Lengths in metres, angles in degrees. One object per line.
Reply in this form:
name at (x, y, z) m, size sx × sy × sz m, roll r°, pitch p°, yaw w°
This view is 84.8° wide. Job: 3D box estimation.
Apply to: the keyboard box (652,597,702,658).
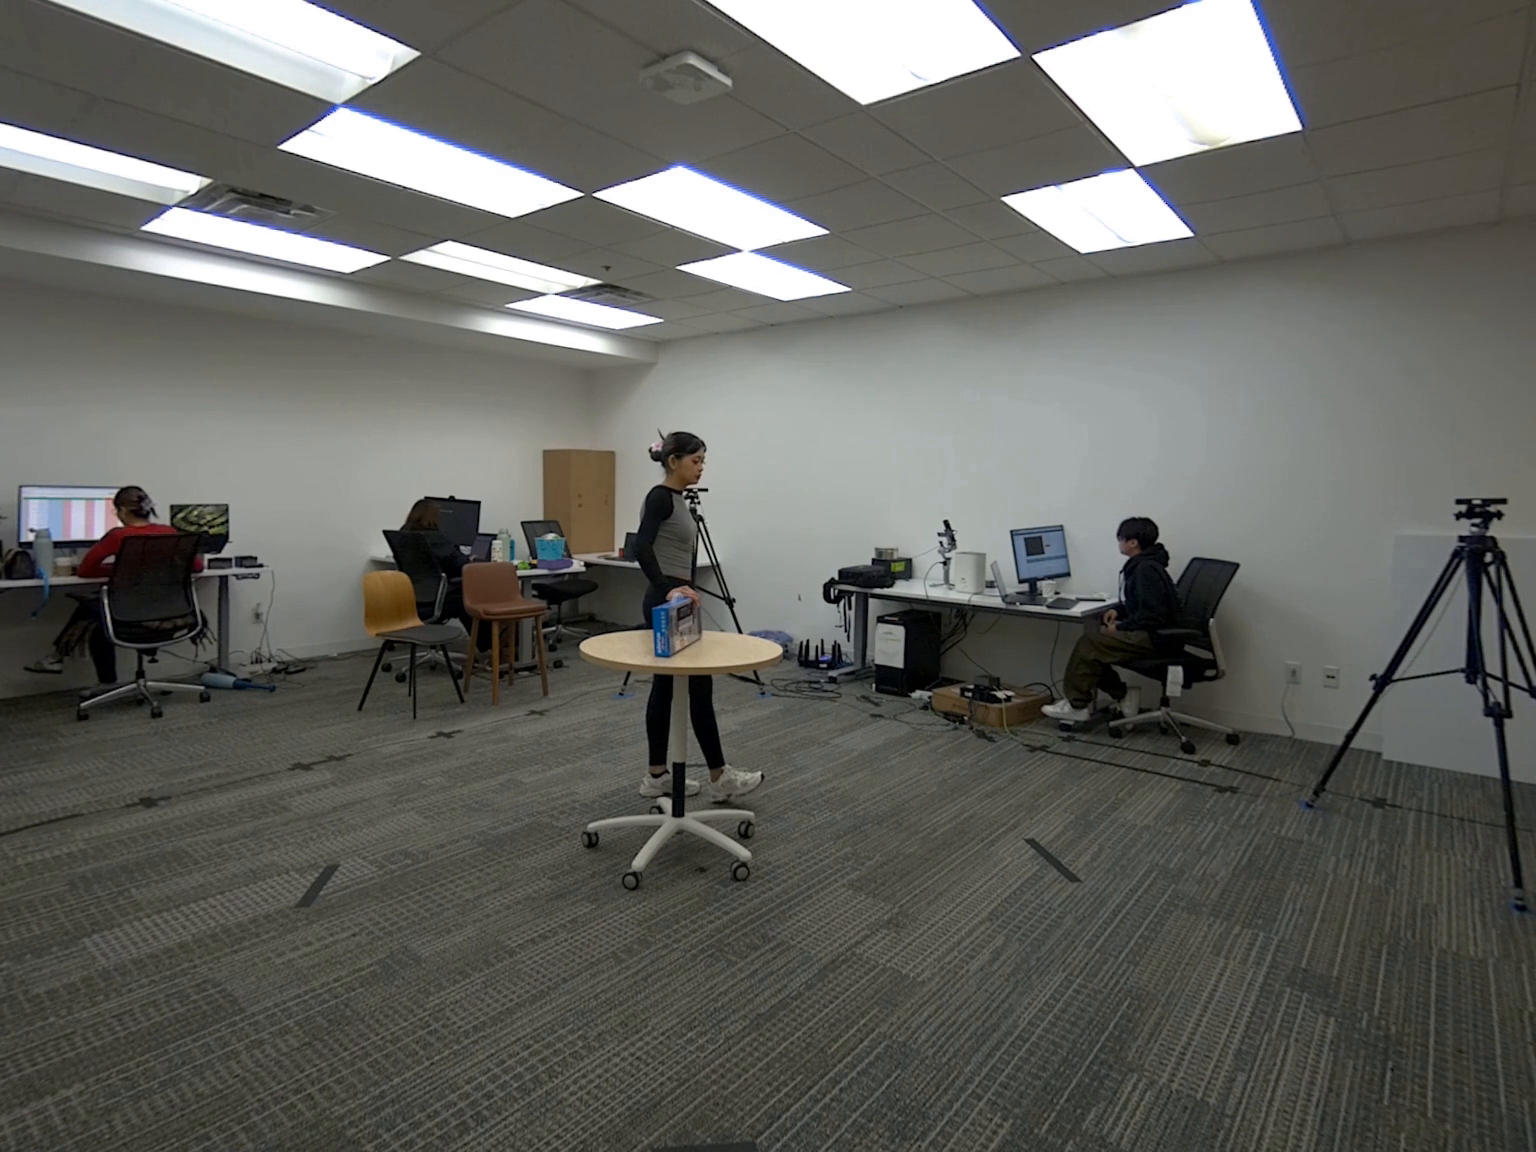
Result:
keyboard box at (-0.341, 0.175, 3.204) m, size 0.060 × 0.175 × 0.433 m, roll -3°, pitch 4°, yaw 10°
